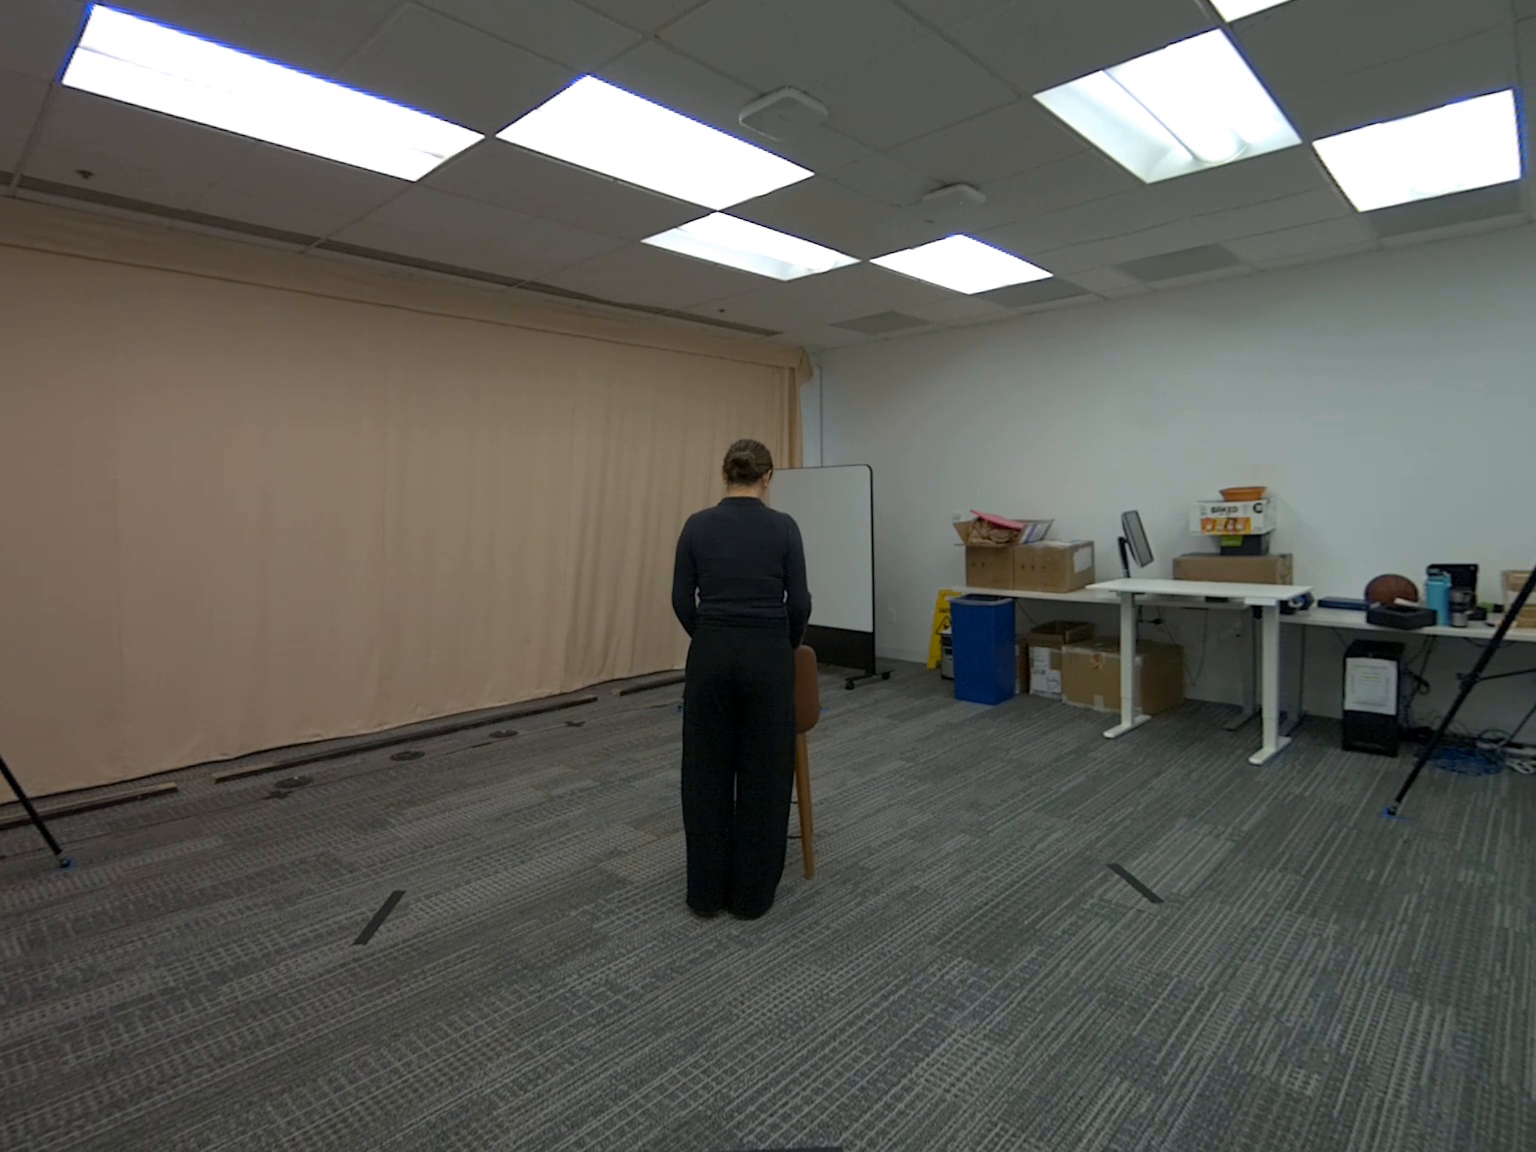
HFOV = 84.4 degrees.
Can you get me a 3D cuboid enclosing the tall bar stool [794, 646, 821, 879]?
[{"bbox_3d":[-0.030,0.673,3.325,0.459,0.887,0.467,-1,5,3],"label":"tall bar stool"}]
